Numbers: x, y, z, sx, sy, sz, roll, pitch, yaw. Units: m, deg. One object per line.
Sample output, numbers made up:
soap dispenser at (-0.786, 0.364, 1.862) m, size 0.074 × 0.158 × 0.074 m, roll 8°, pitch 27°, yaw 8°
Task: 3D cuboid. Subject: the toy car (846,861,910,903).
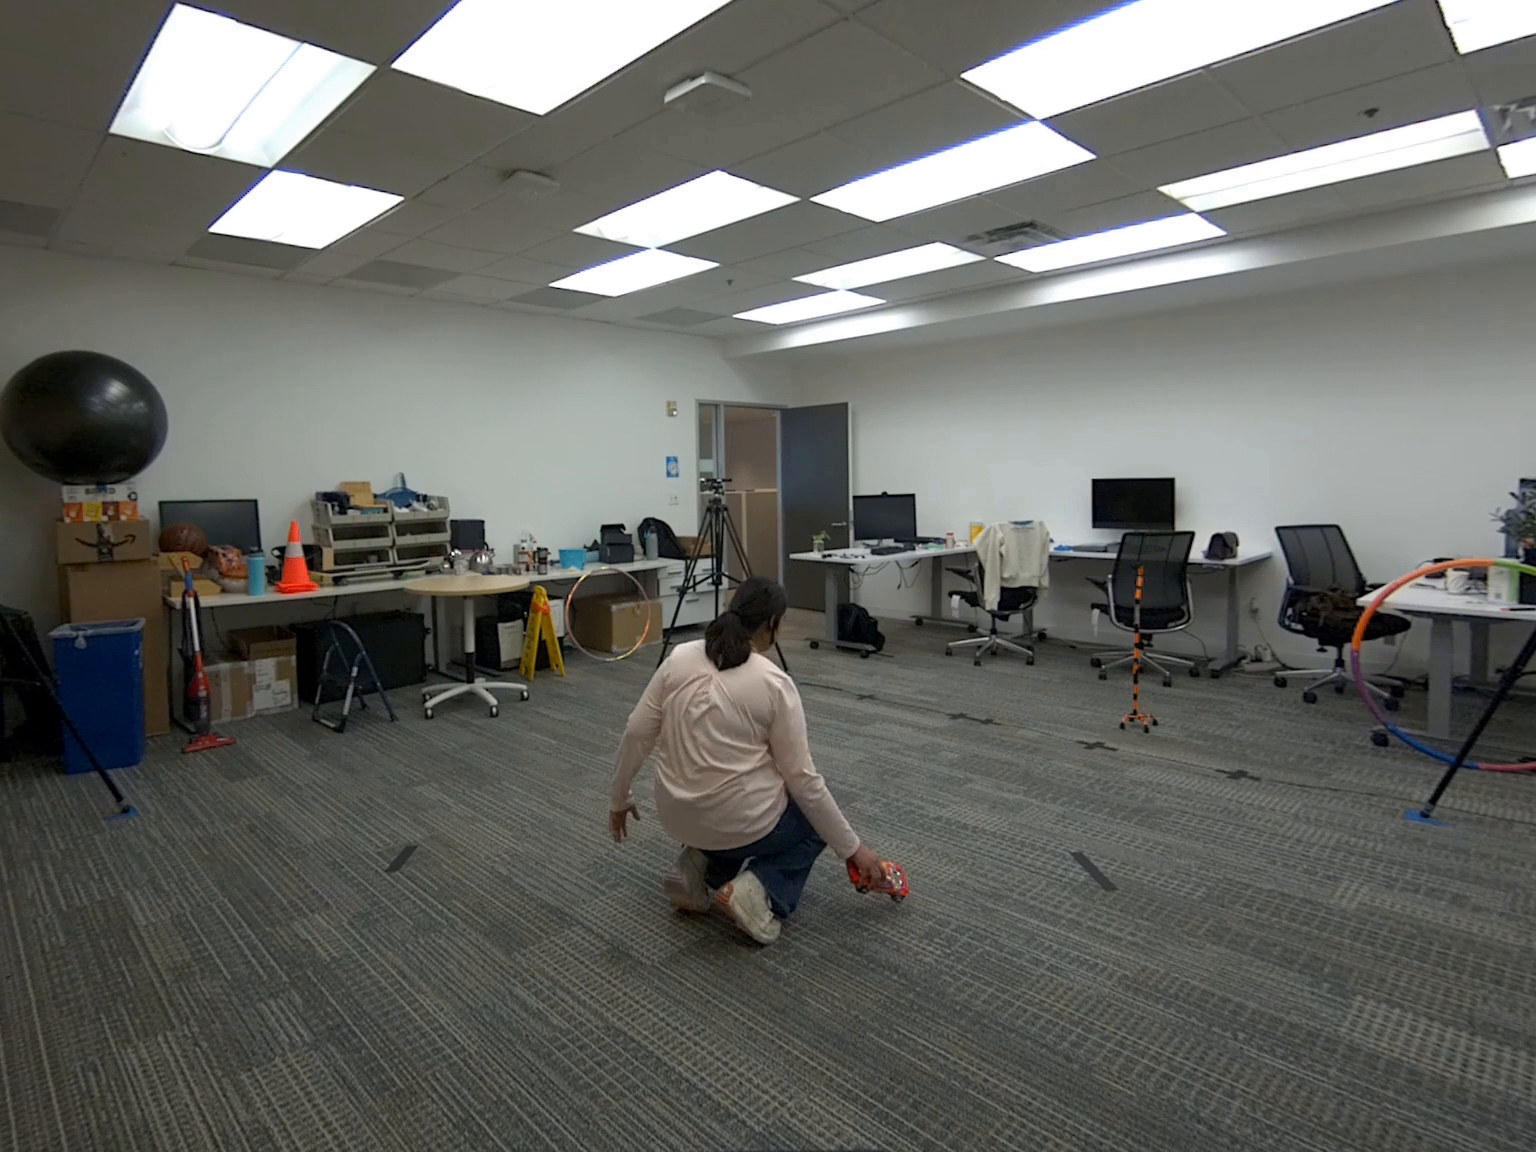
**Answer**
toy car at (0.341, 0.946, 2.720) m, size 0.246 × 0.134 × 0.083 m, roll 32°, pitch -59°, yaw -31°
